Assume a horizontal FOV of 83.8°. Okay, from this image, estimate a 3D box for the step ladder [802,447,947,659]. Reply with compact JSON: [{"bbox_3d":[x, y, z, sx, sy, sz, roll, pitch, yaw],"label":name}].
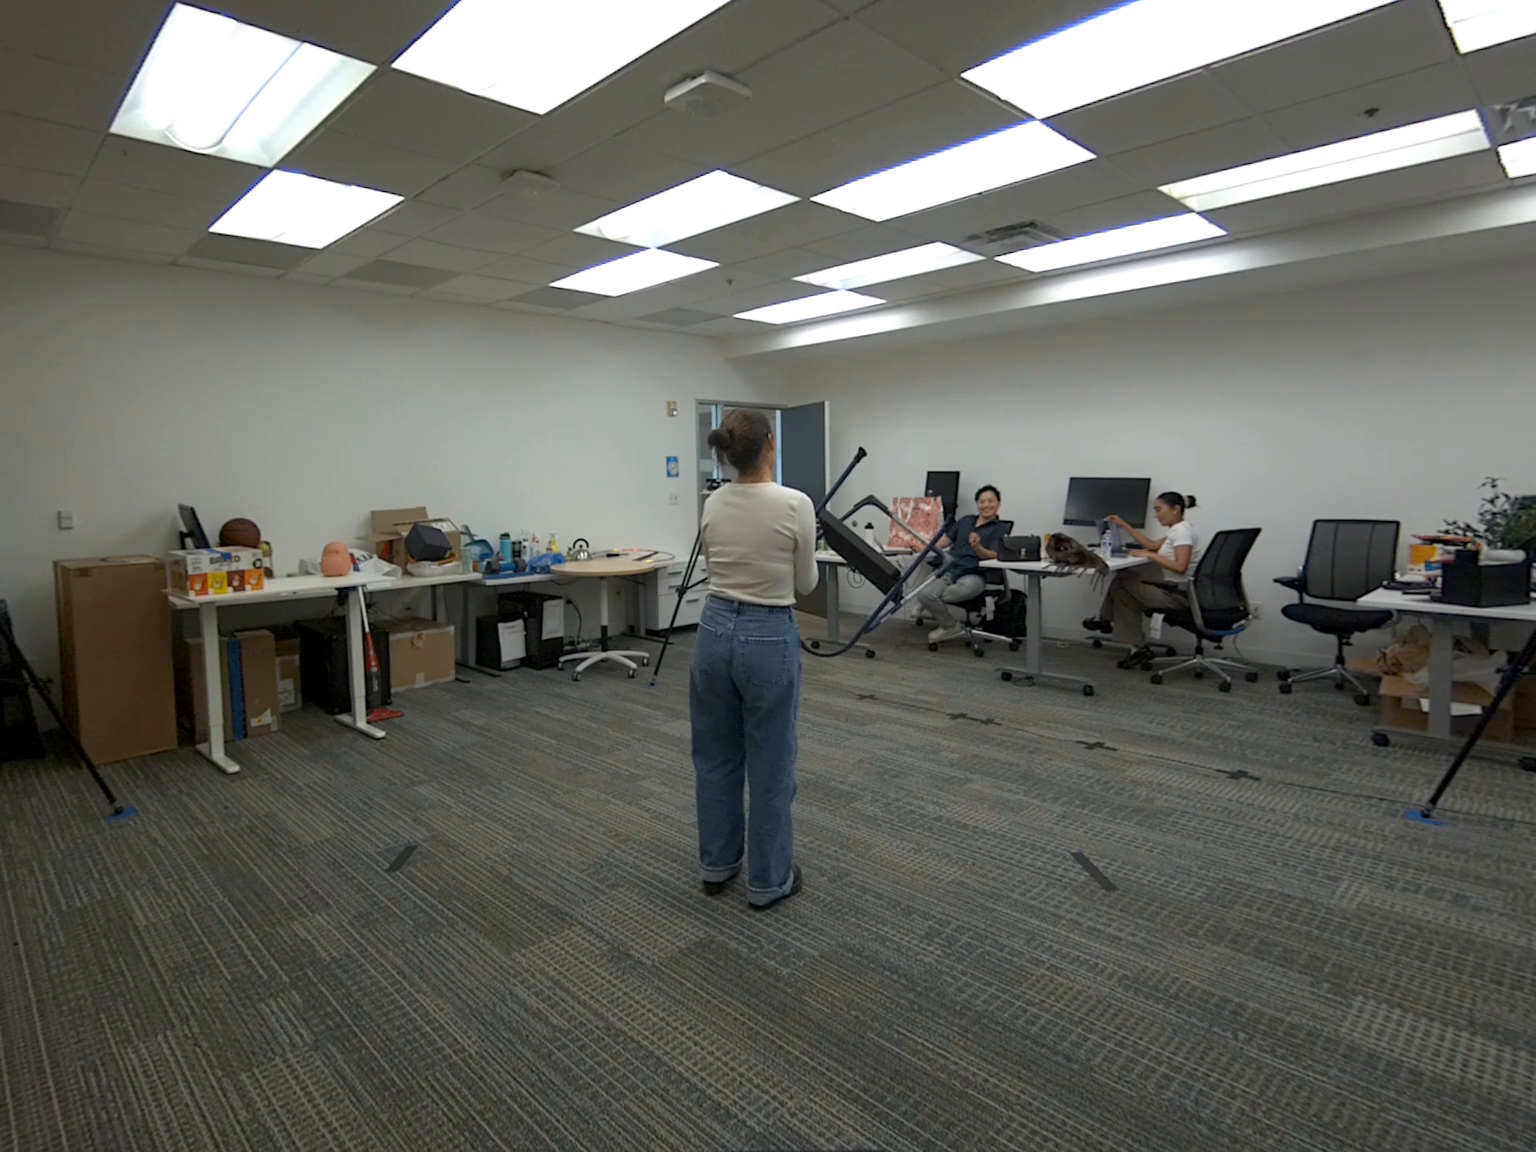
[{"bbox_3d":[0.278,-0.046,2.916,0.445,0.605,0.337,42,-8,29],"label":"step ladder"}]
